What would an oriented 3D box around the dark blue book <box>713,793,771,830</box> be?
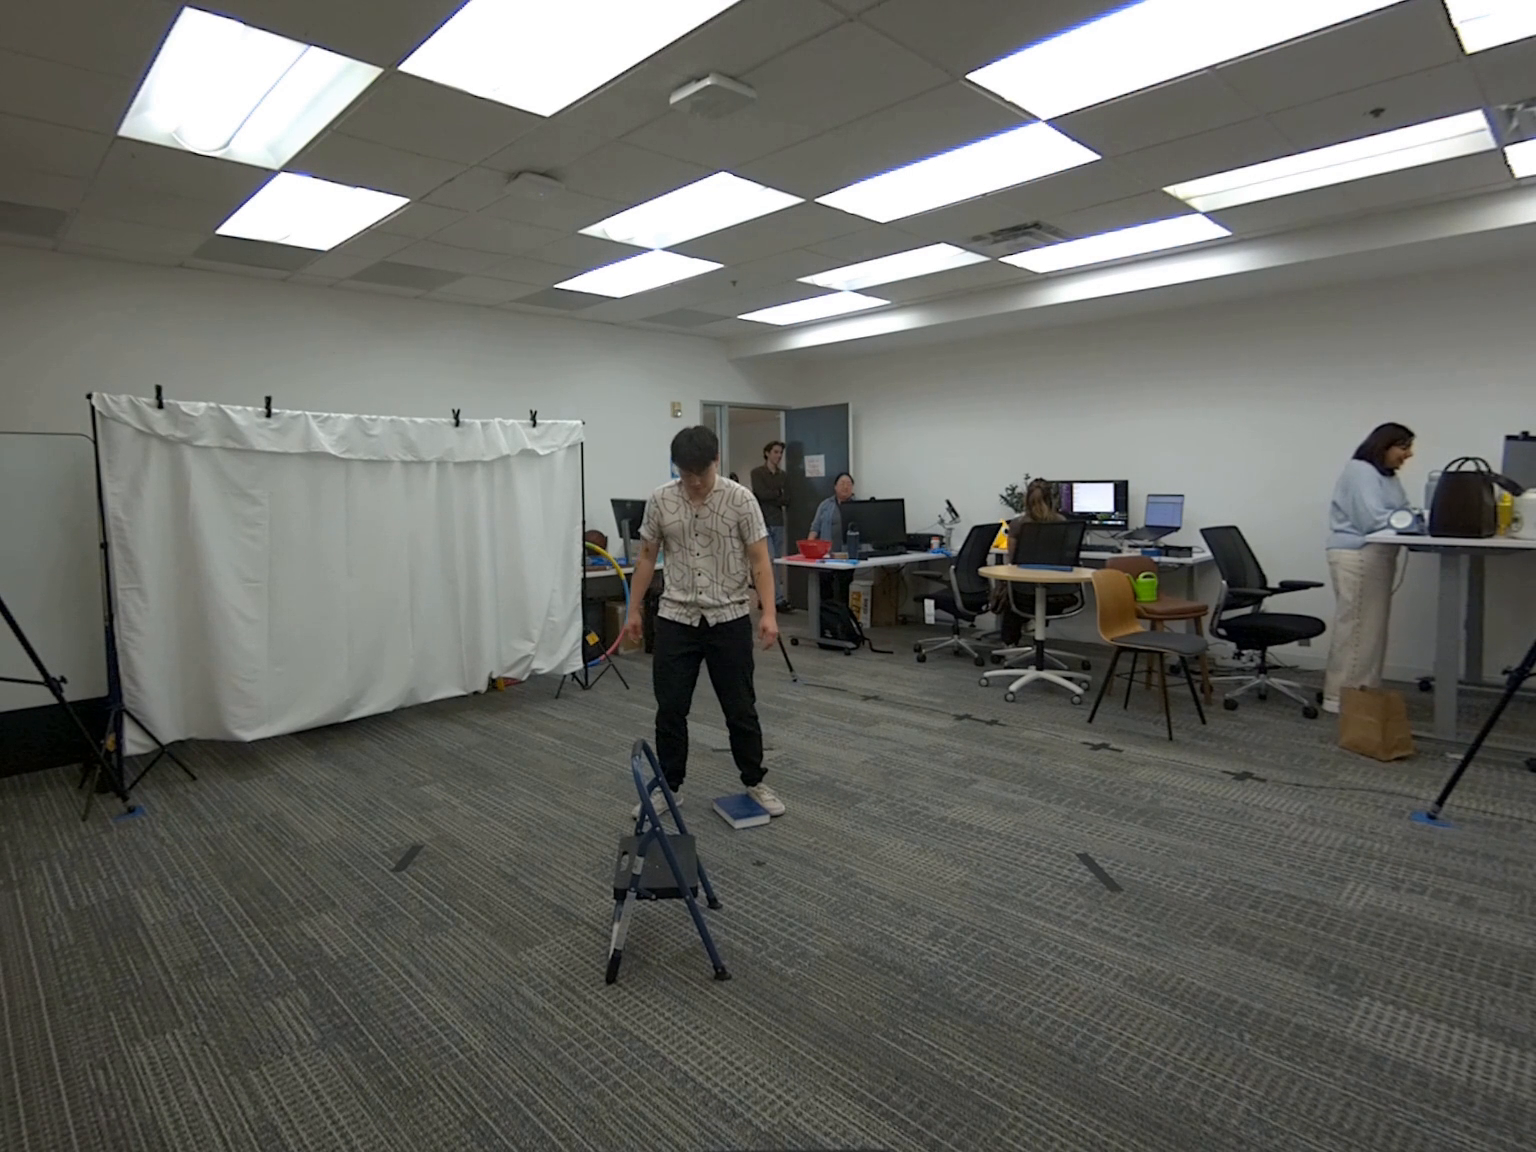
[{"bbox_3d":[-0.116,0.975,3.550,0.160,0.045,0.251,-5,8,-25],"label":"dark blue book"}]
